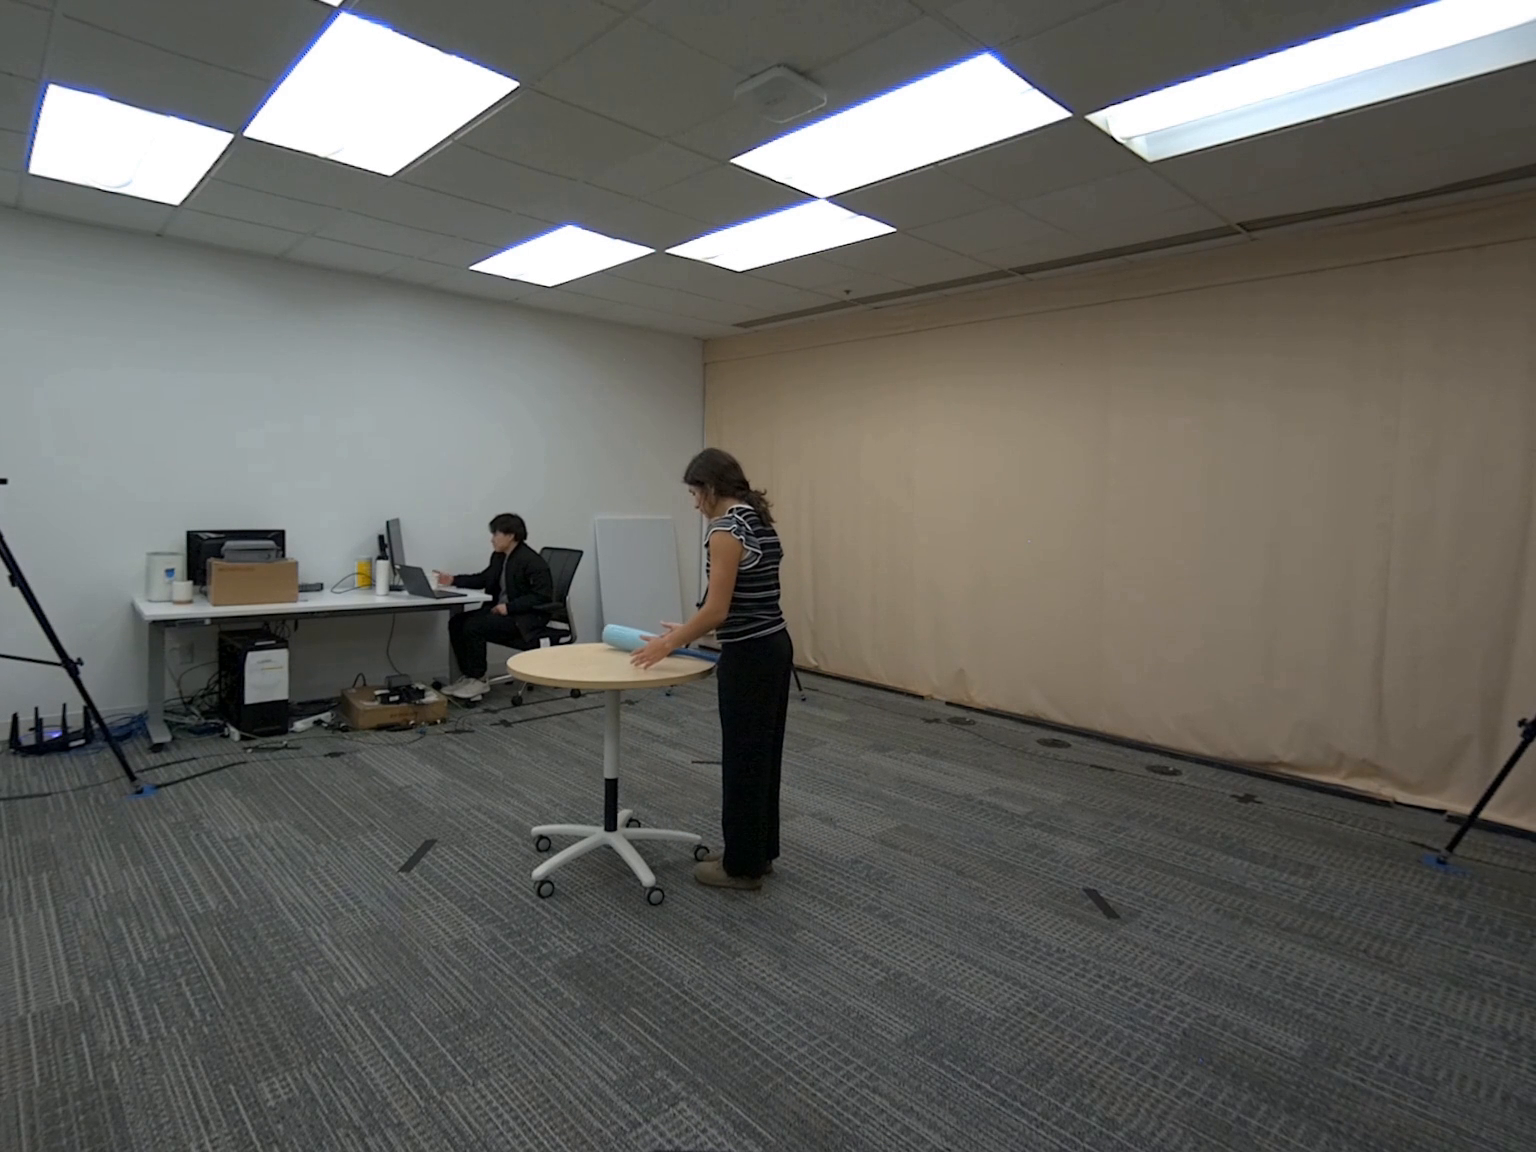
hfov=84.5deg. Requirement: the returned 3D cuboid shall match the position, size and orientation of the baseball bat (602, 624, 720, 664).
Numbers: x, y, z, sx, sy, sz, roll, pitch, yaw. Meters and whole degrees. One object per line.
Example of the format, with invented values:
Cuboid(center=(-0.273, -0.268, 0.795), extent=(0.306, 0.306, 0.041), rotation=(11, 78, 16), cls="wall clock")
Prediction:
Cuboid(center=(-0.413, 0.271, 3.217), extent=(0.555, 0.089, 0.087), rotation=(9, 7, 28), cls="baseball bat")
